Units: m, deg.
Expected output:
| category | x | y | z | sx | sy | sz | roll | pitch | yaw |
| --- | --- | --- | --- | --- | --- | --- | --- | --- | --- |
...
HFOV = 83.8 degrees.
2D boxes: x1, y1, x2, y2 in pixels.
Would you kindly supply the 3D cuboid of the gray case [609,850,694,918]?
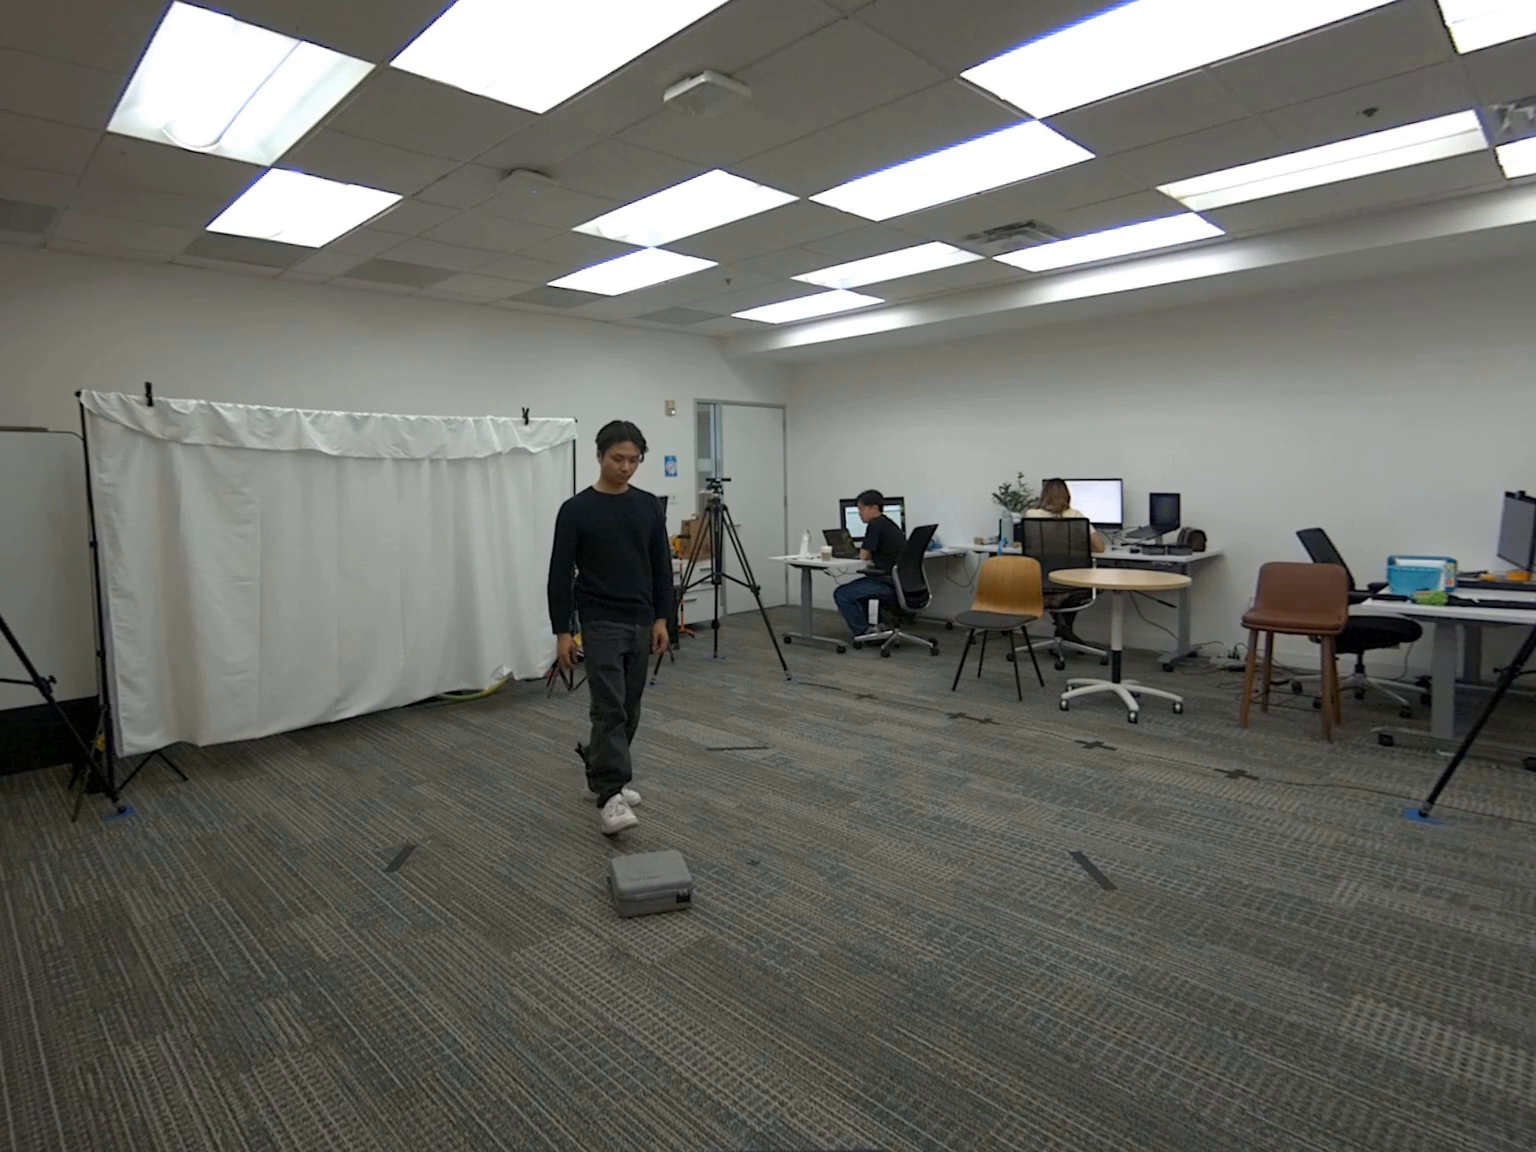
| category | x | y | z | sx | sy | sz | roll | pitch | yaw |
| --- | --- | --- | --- | --- | --- | --- | --- | --- | --- |
| gray case | -0.391 | 1.021 | 2.860 | 0.253 | 0.104 | 0.265 | -4 | 6 | -15 |
